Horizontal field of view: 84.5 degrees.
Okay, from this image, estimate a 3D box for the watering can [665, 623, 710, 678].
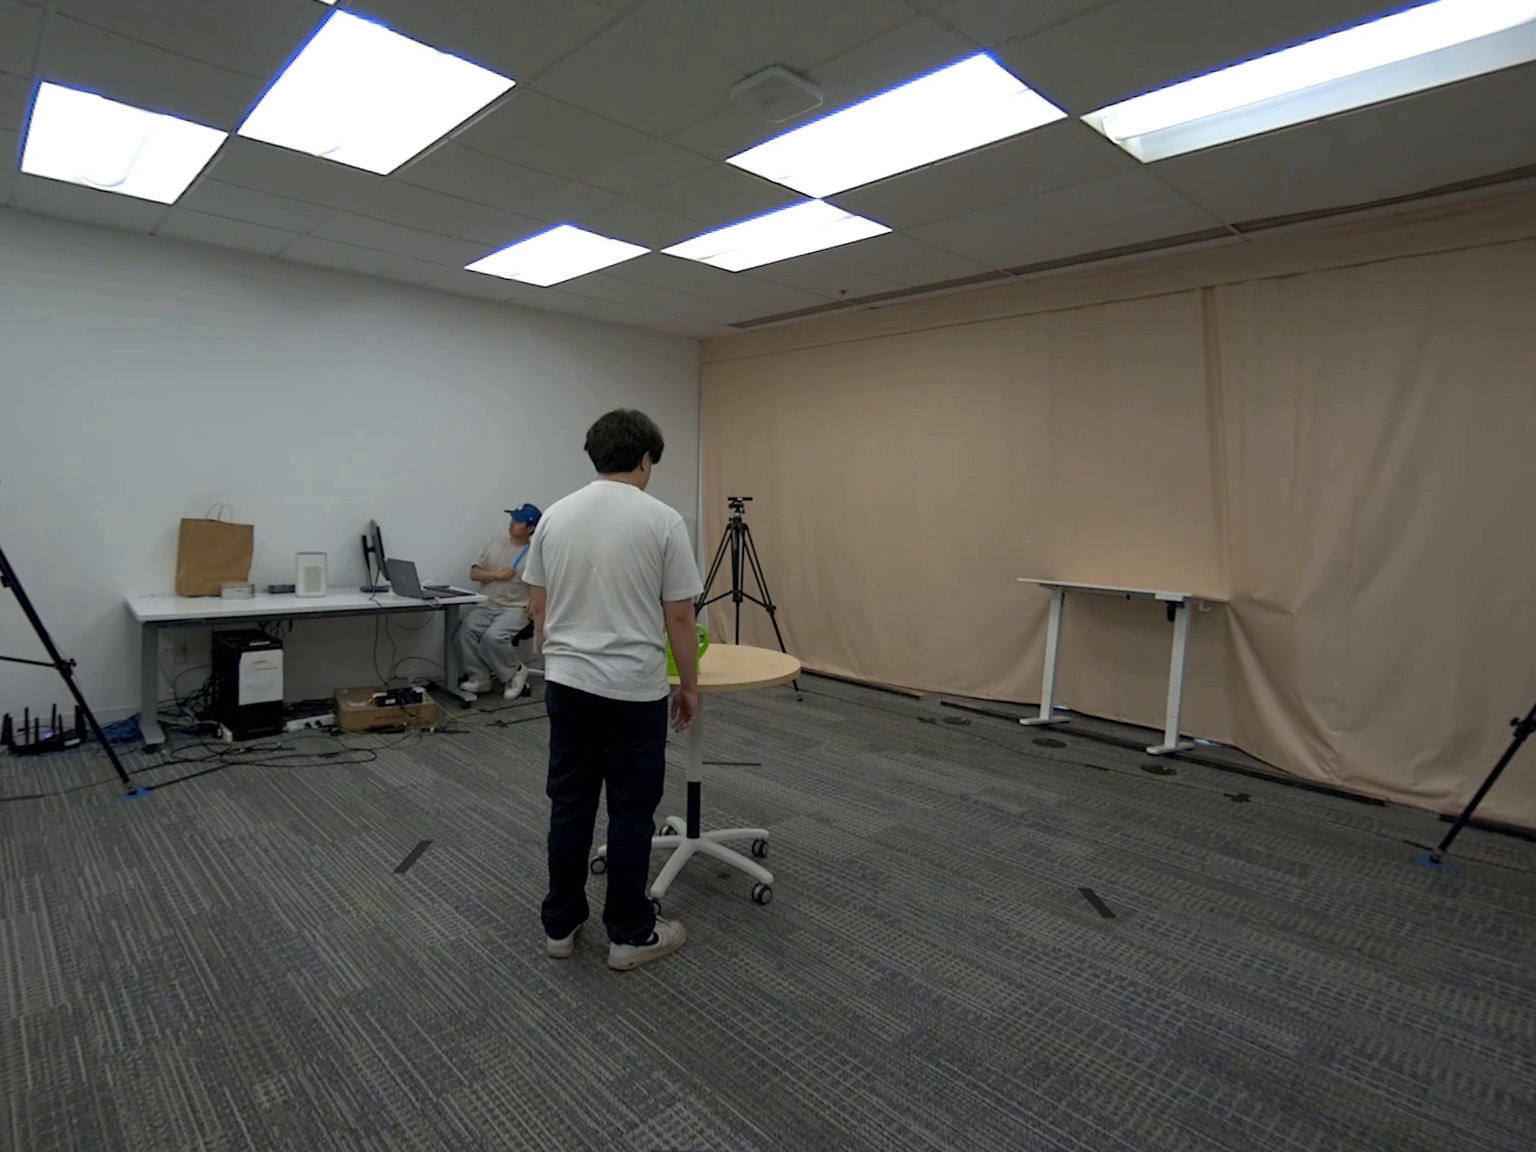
[{"bbox_3d":[-0.353,0.250,2.863,0.281,0.176,0.097,4,4,10],"label":"watering can"}]
